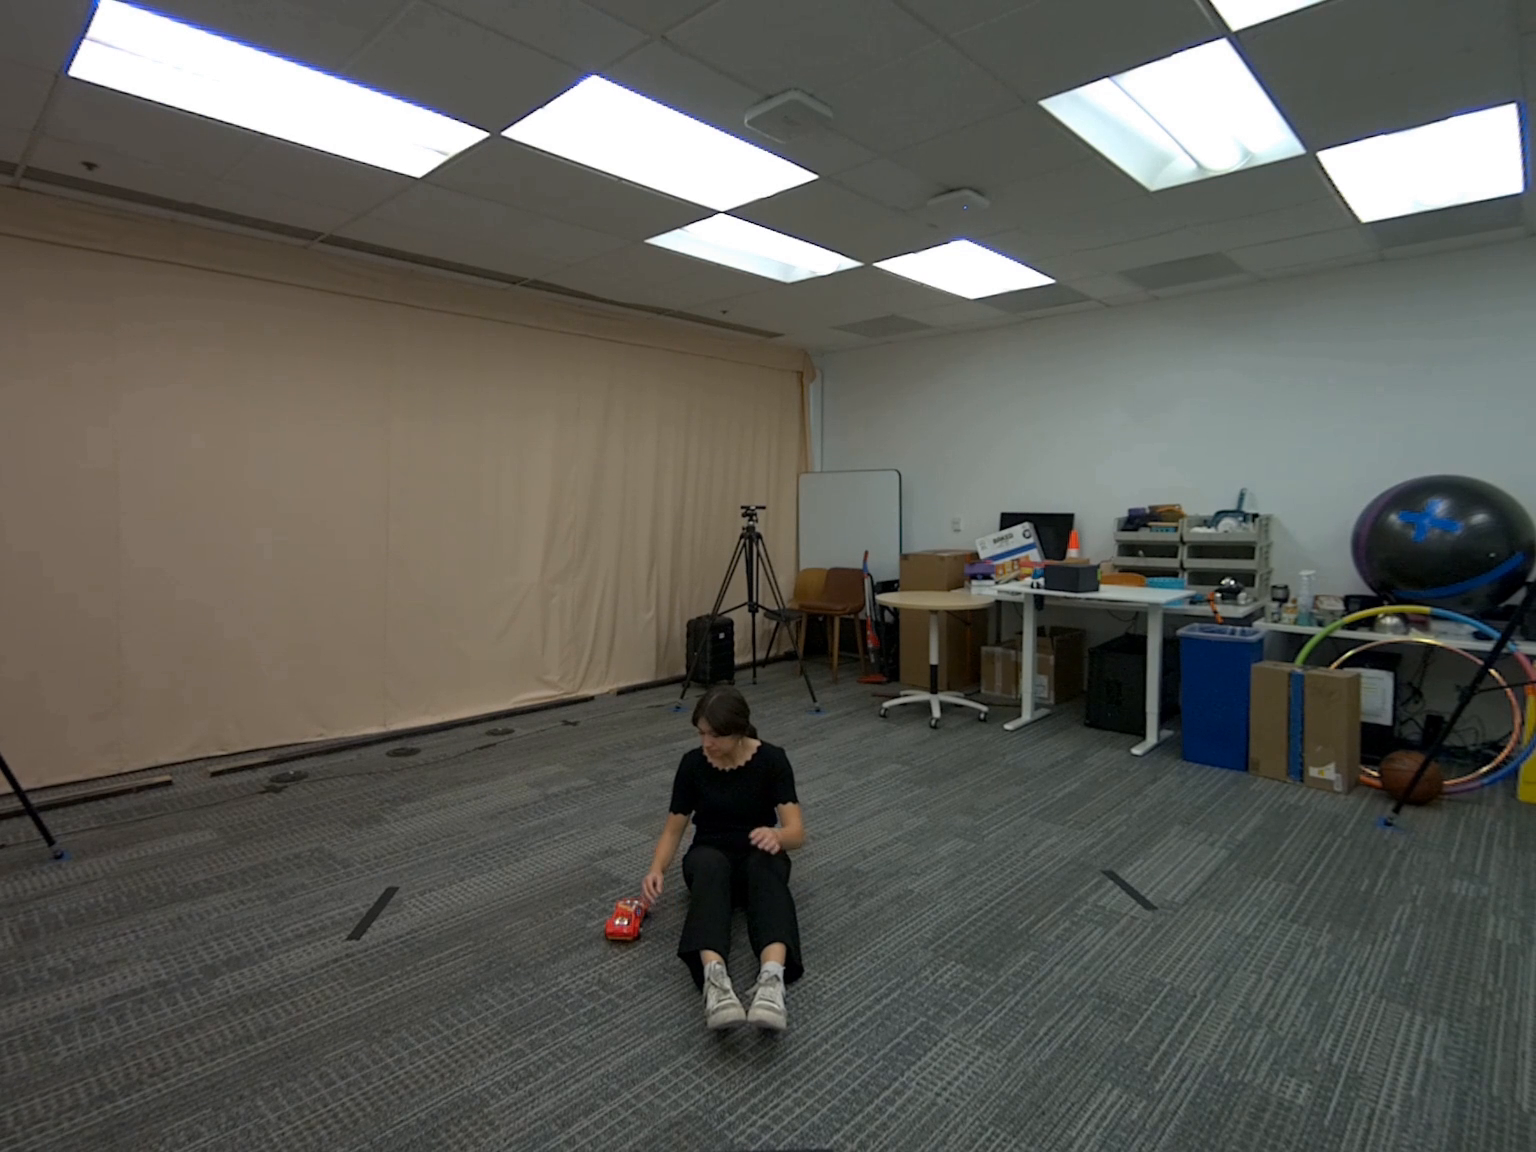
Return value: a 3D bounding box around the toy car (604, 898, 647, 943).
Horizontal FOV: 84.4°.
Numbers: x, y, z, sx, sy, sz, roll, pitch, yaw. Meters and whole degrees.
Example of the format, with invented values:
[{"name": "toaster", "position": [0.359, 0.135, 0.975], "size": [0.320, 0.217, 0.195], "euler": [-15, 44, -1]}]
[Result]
[{"name": "toy car", "position": [-0.465, 1.138, 2.762], "size": [0.131, 0.083, 0.252], "euler": [2, -7, 5]}]
